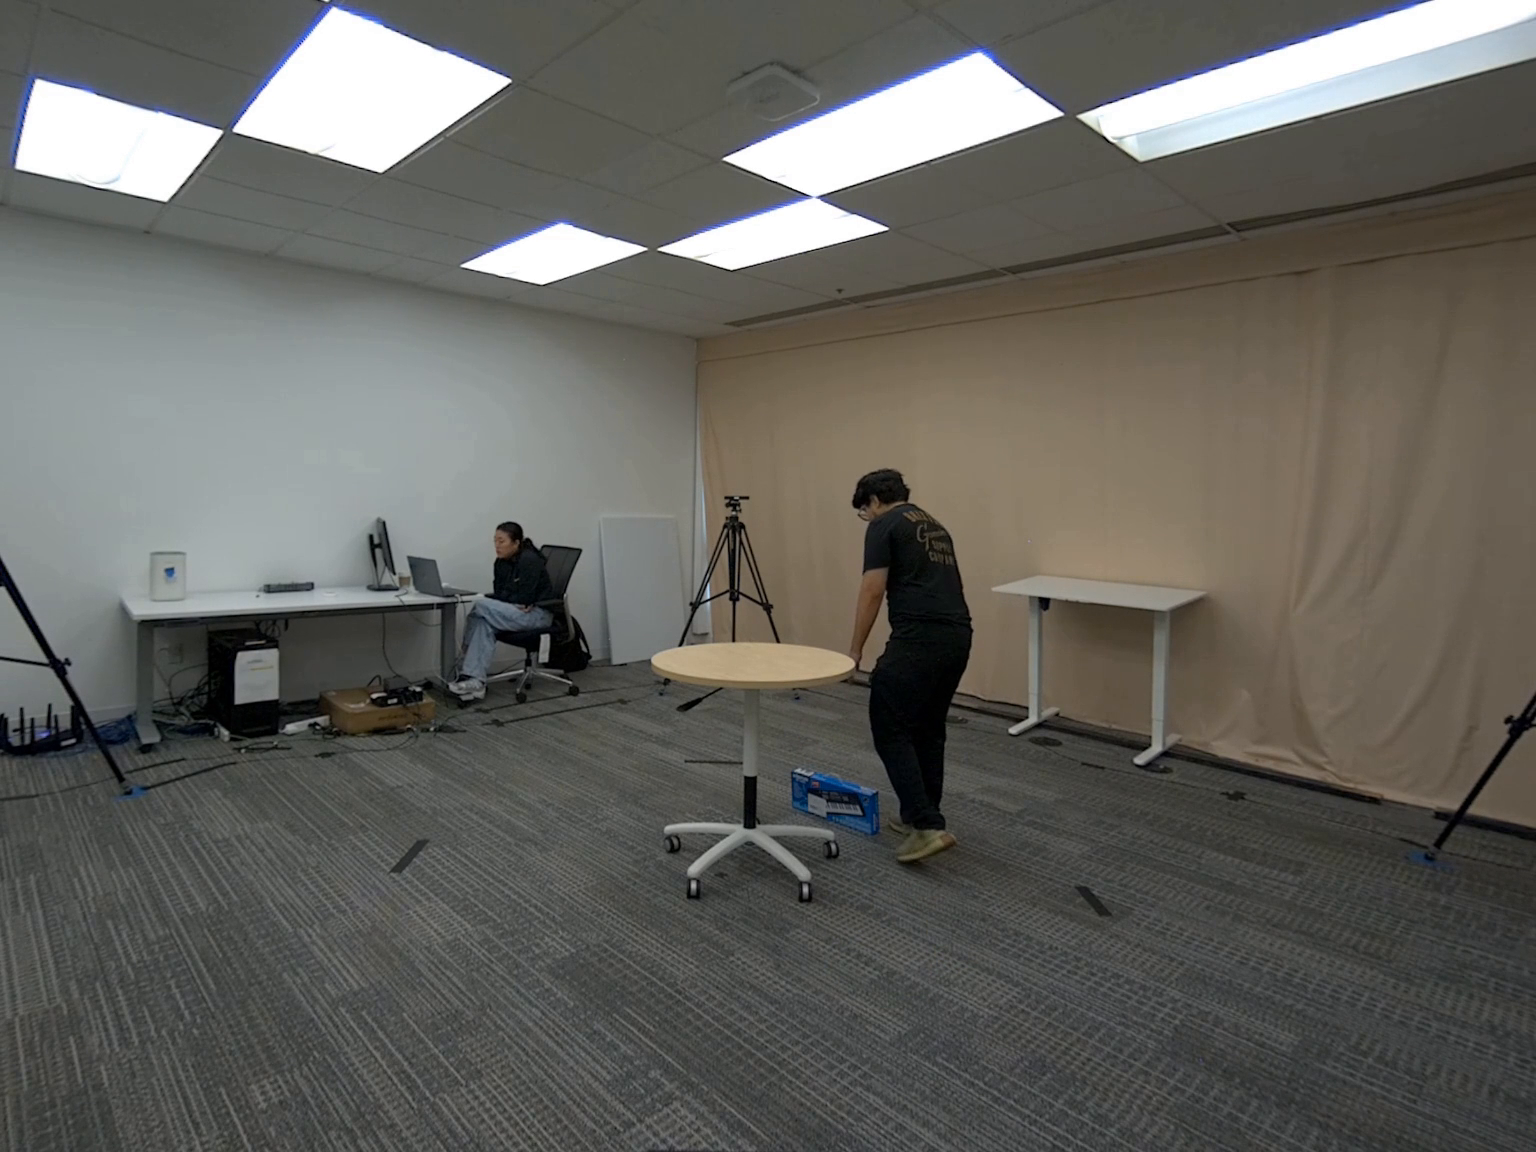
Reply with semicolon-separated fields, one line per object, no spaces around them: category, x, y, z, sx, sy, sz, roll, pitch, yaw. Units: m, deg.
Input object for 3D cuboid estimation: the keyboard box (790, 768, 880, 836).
keyboard box;0.279;0.979;3.679;0.448;0.175;0.058;5;10;43
